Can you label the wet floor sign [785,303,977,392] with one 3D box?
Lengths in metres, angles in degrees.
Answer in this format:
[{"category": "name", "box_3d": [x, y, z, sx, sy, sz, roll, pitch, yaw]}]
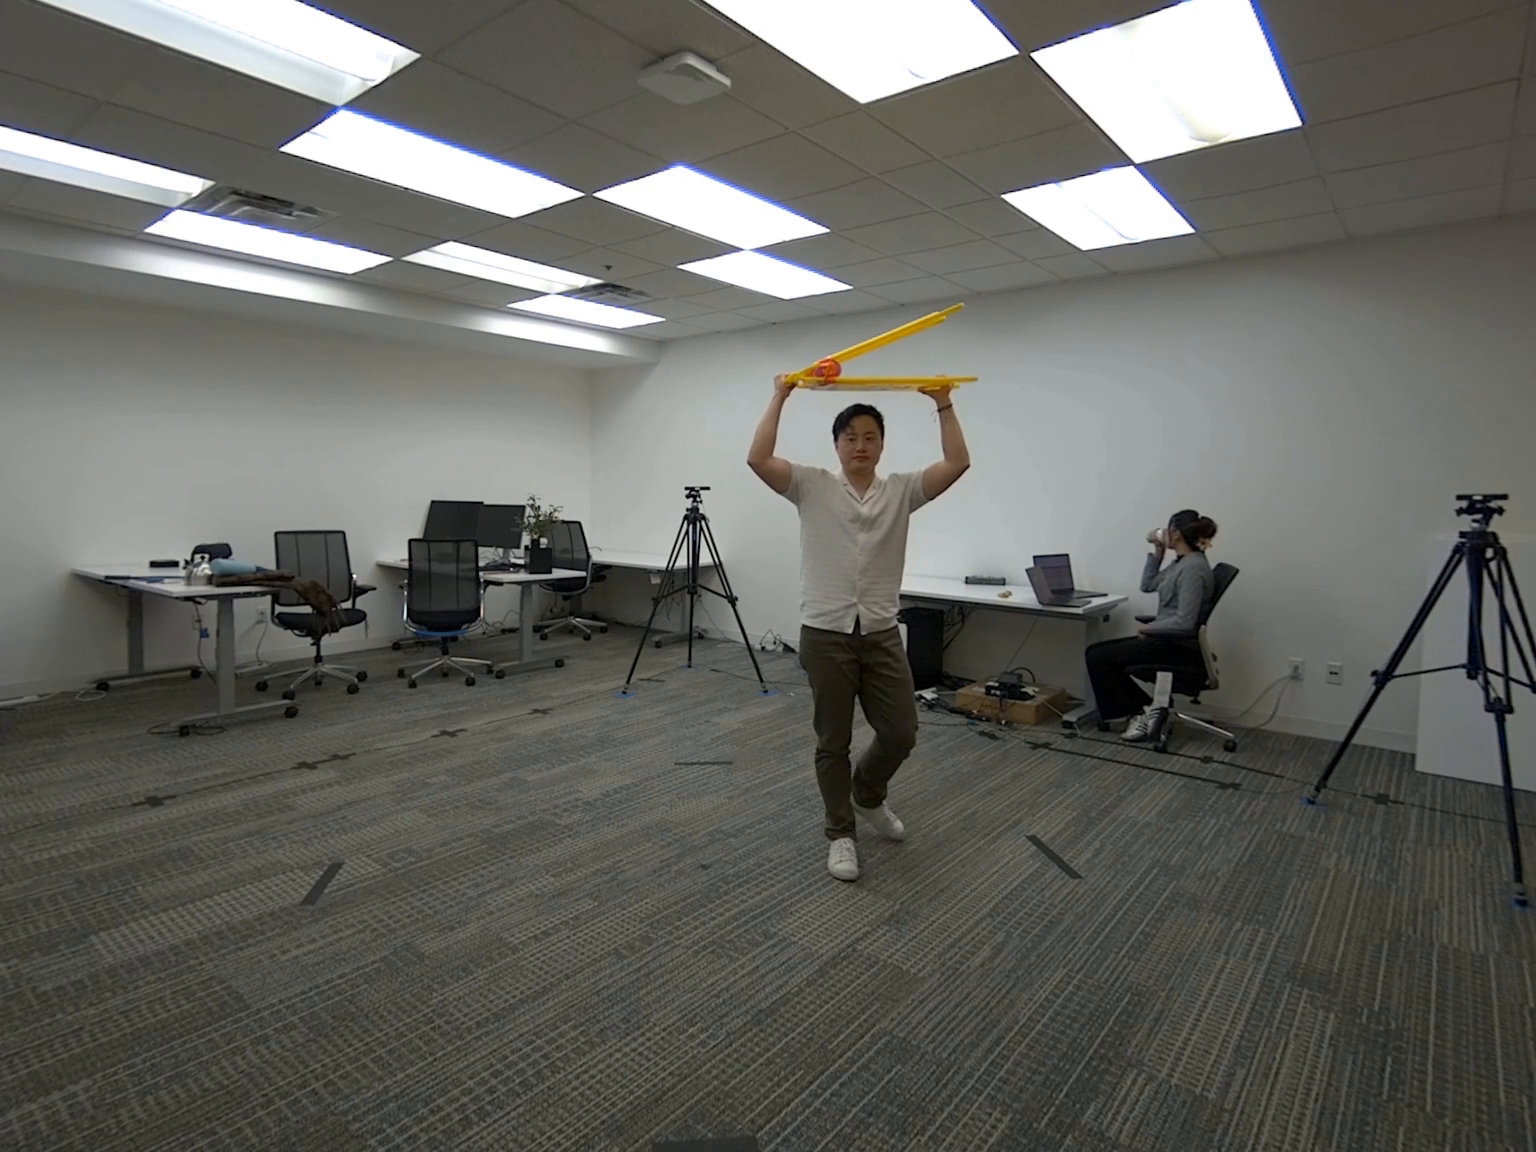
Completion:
[{"category": "wet floor sign", "box_3d": [0.371, -0.763, 3.046, 0.645, 0.289, 0.284, -11, 4, -2]}]
